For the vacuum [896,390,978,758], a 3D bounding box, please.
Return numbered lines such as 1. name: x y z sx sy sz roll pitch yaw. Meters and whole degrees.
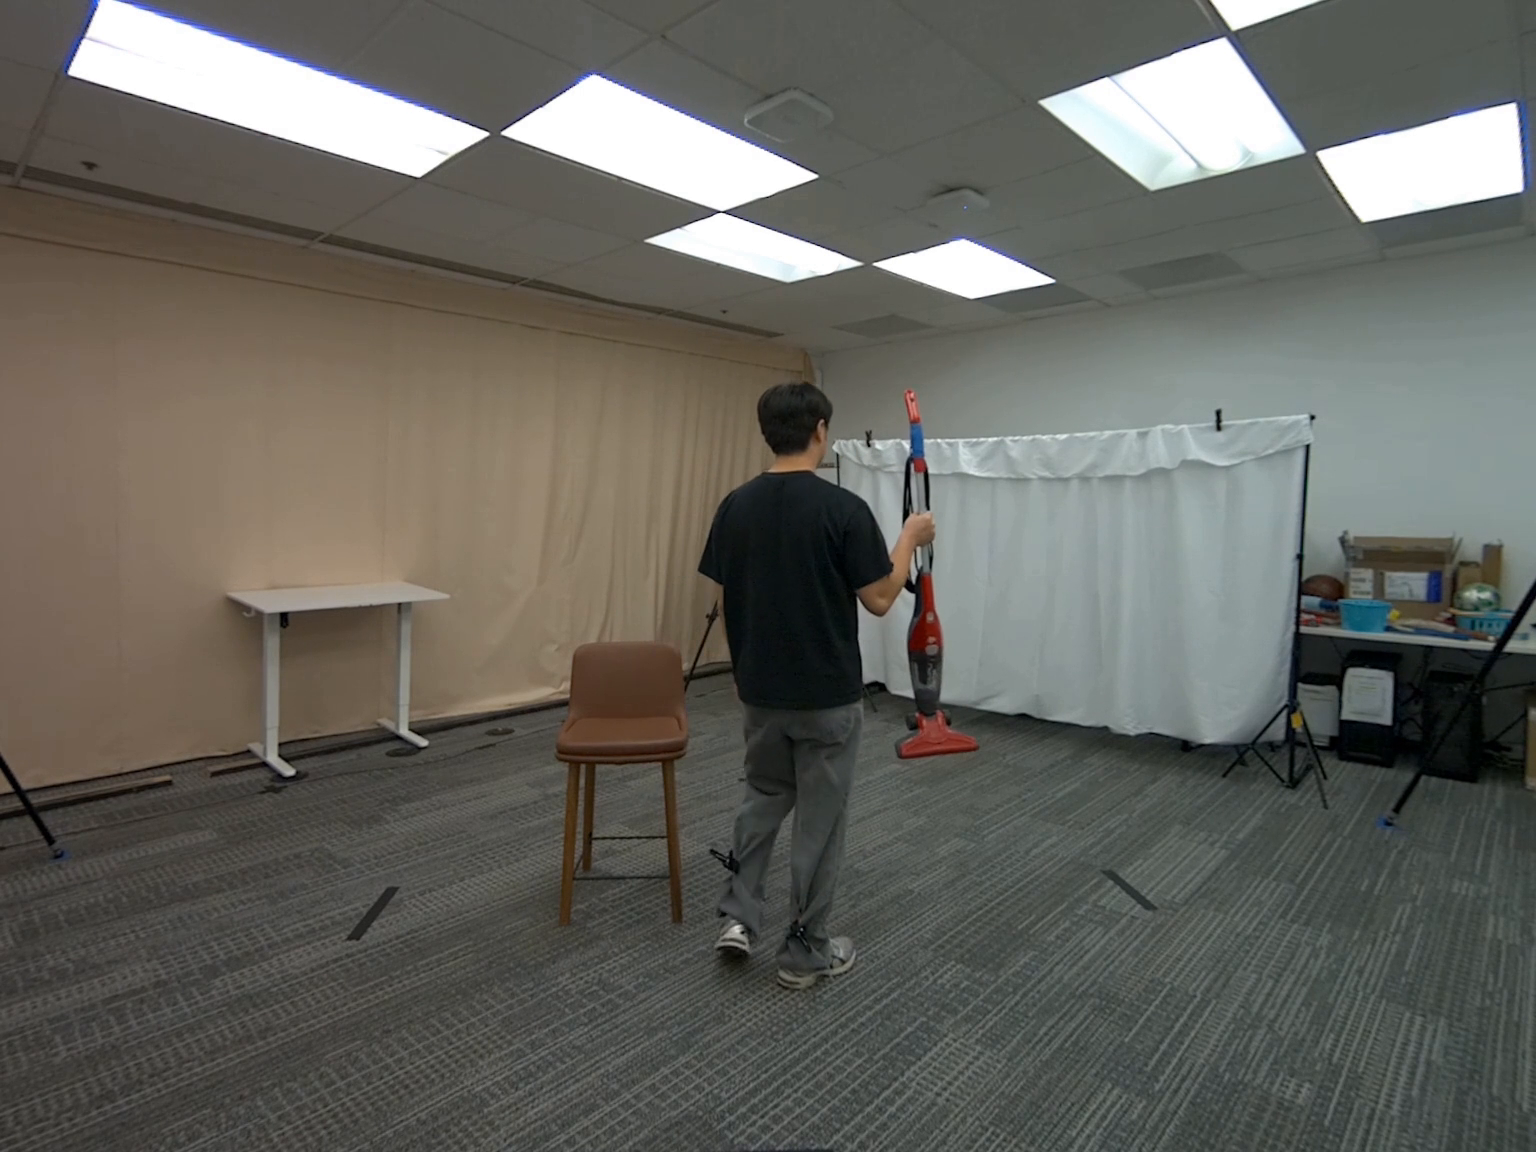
1. vacuum: 0.480 -0.020 2.557 0.252 1.045 0.145 -3 5 -2
